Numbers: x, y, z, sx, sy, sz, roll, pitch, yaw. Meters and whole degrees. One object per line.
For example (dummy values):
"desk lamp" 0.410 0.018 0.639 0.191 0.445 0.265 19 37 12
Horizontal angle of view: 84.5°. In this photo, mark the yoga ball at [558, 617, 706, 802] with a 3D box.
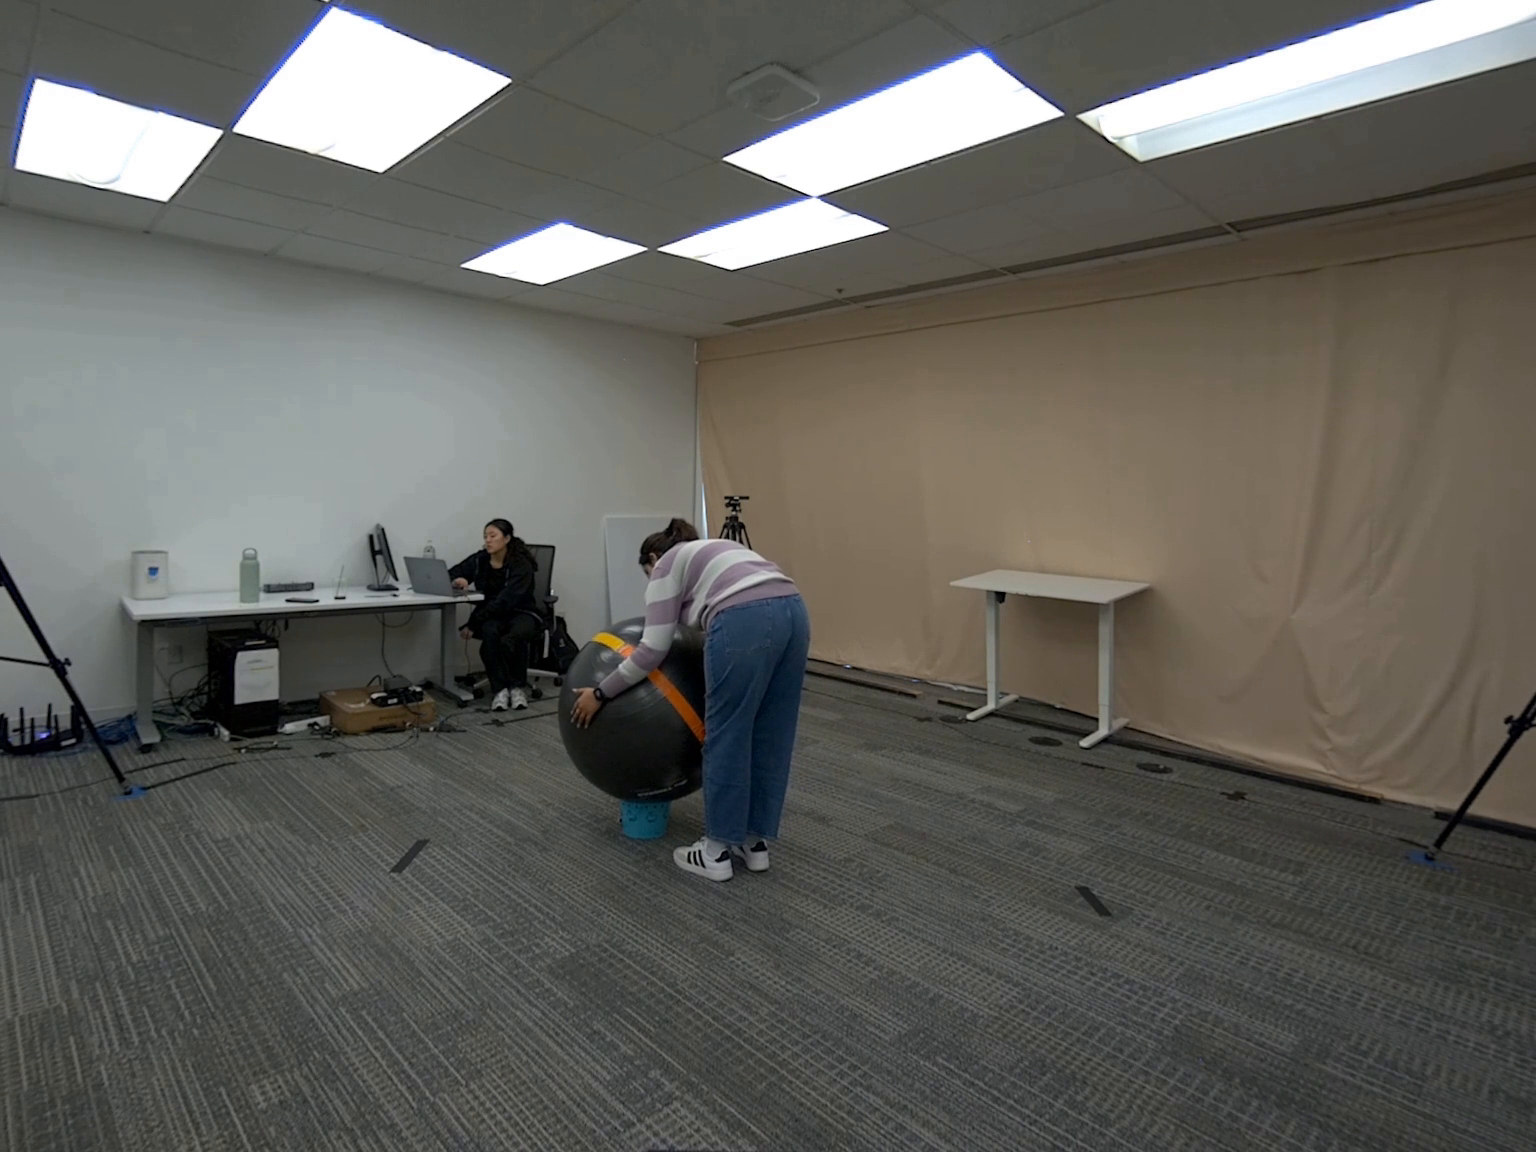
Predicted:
"yoga ball" -0.495 0.553 3.493 0.757 0.756 0.761 1 4 -1
